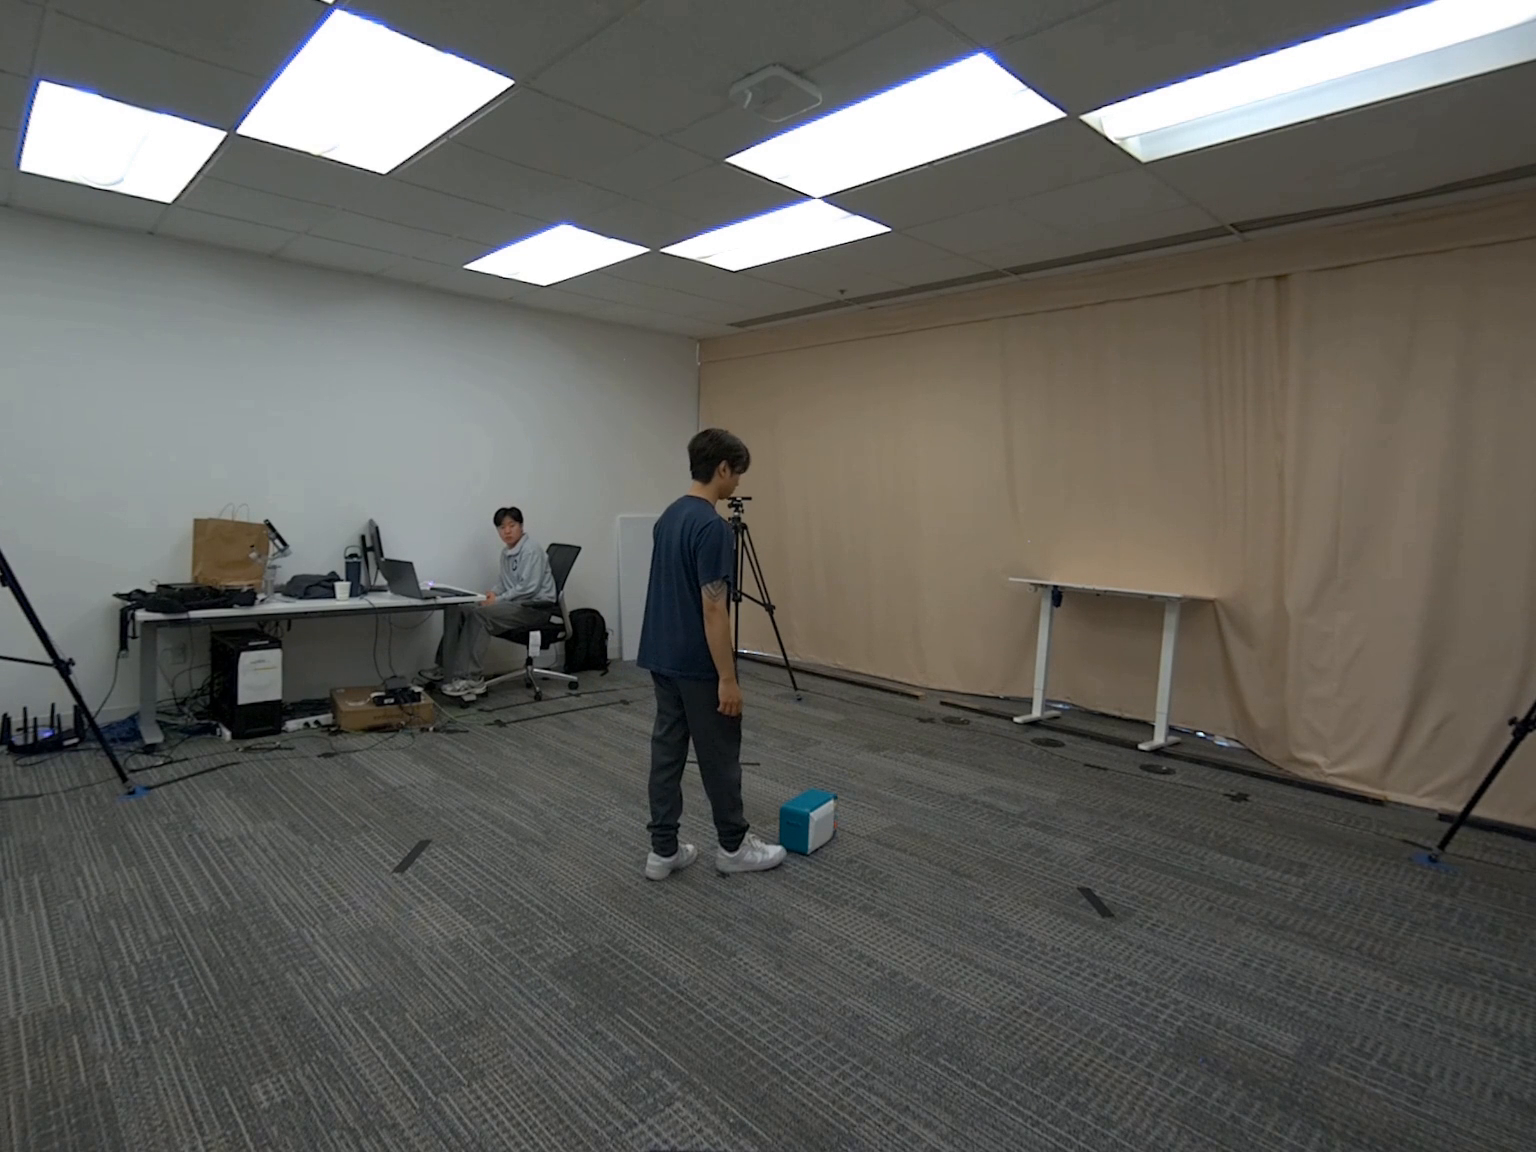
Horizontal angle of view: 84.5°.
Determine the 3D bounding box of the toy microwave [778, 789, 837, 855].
[{"bbox_3d":[0.165,0.994,3.415,0.156,0.184,0.280,4,4,31],"label":"toy microwave"}]
